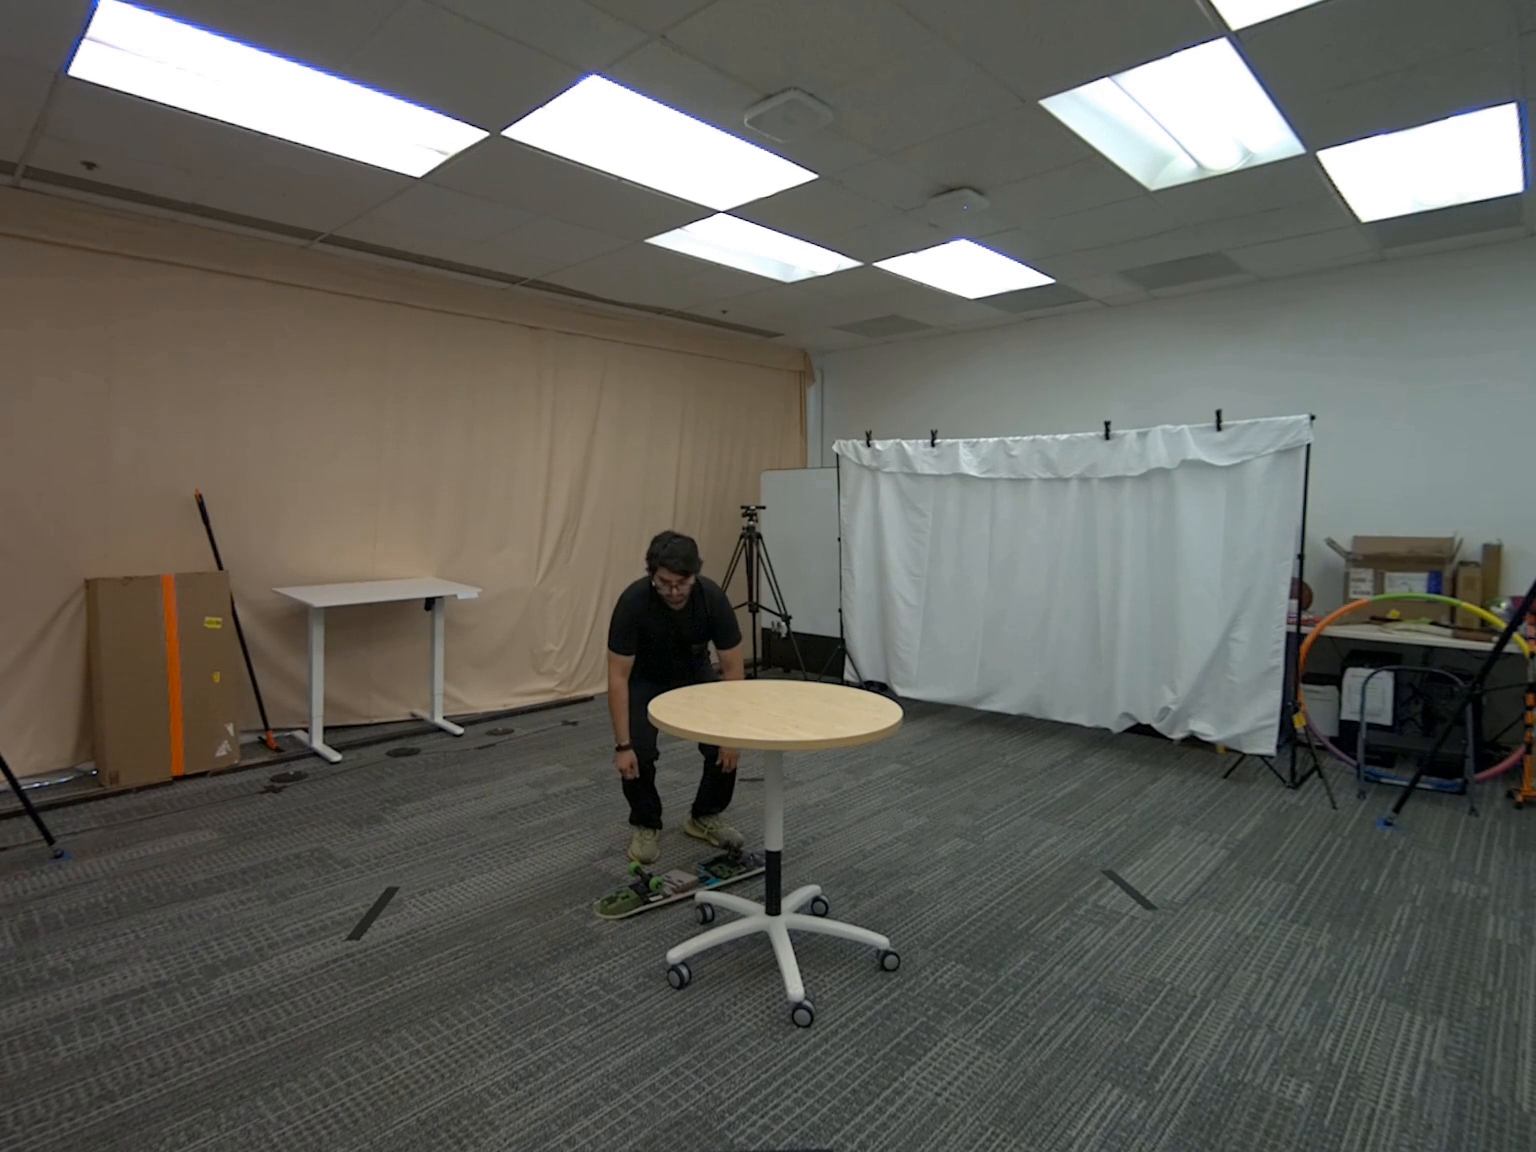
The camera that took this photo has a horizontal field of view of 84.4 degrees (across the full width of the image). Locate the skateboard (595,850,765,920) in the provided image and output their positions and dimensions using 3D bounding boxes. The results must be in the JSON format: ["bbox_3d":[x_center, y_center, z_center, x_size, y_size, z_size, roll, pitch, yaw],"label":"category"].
[{"bbox_3d":[-0.277,1.088,3.088,0.763,0.110,0.199,-4,5,-36],"label":"skateboard"}]
